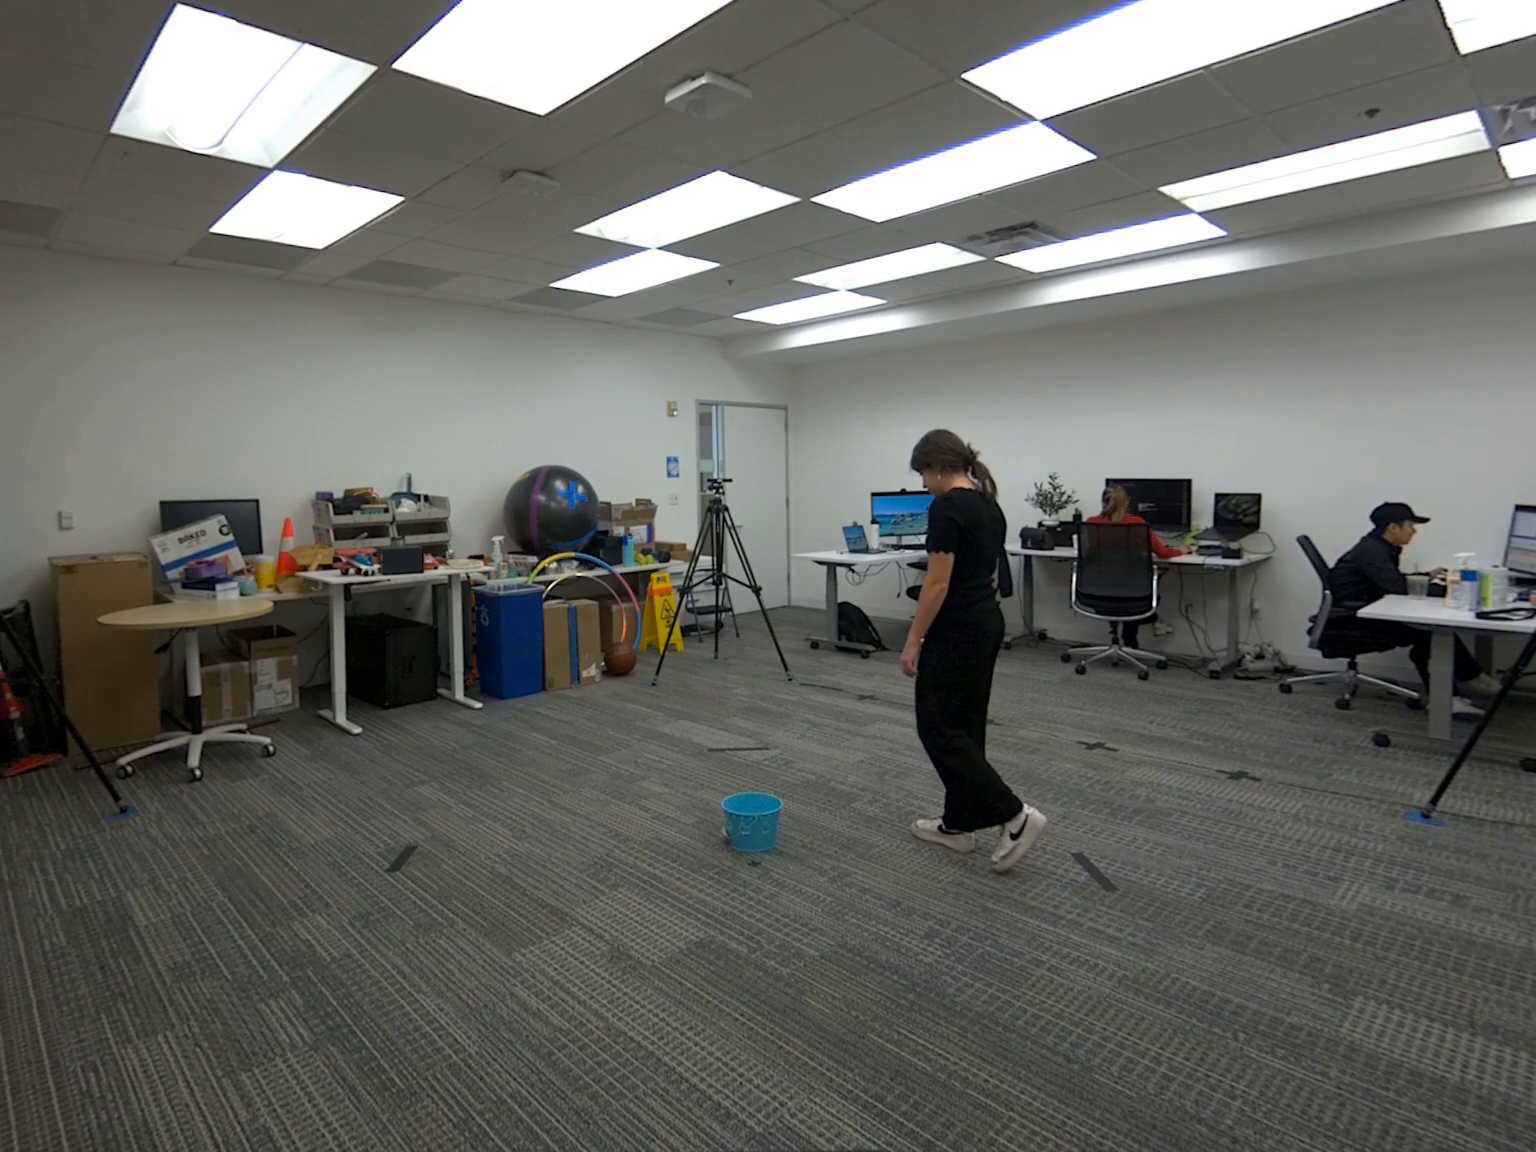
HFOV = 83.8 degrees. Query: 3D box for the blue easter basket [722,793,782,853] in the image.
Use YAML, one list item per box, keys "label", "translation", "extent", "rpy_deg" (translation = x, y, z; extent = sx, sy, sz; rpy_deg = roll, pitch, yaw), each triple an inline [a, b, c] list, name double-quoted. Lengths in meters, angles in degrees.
- label: "blue easter basket"
  translation: [-0.064, 0.946, 3.290]
  extent: [0.243, 0.155, 0.245]
  rpy_deg: [-1, 5, -2]
